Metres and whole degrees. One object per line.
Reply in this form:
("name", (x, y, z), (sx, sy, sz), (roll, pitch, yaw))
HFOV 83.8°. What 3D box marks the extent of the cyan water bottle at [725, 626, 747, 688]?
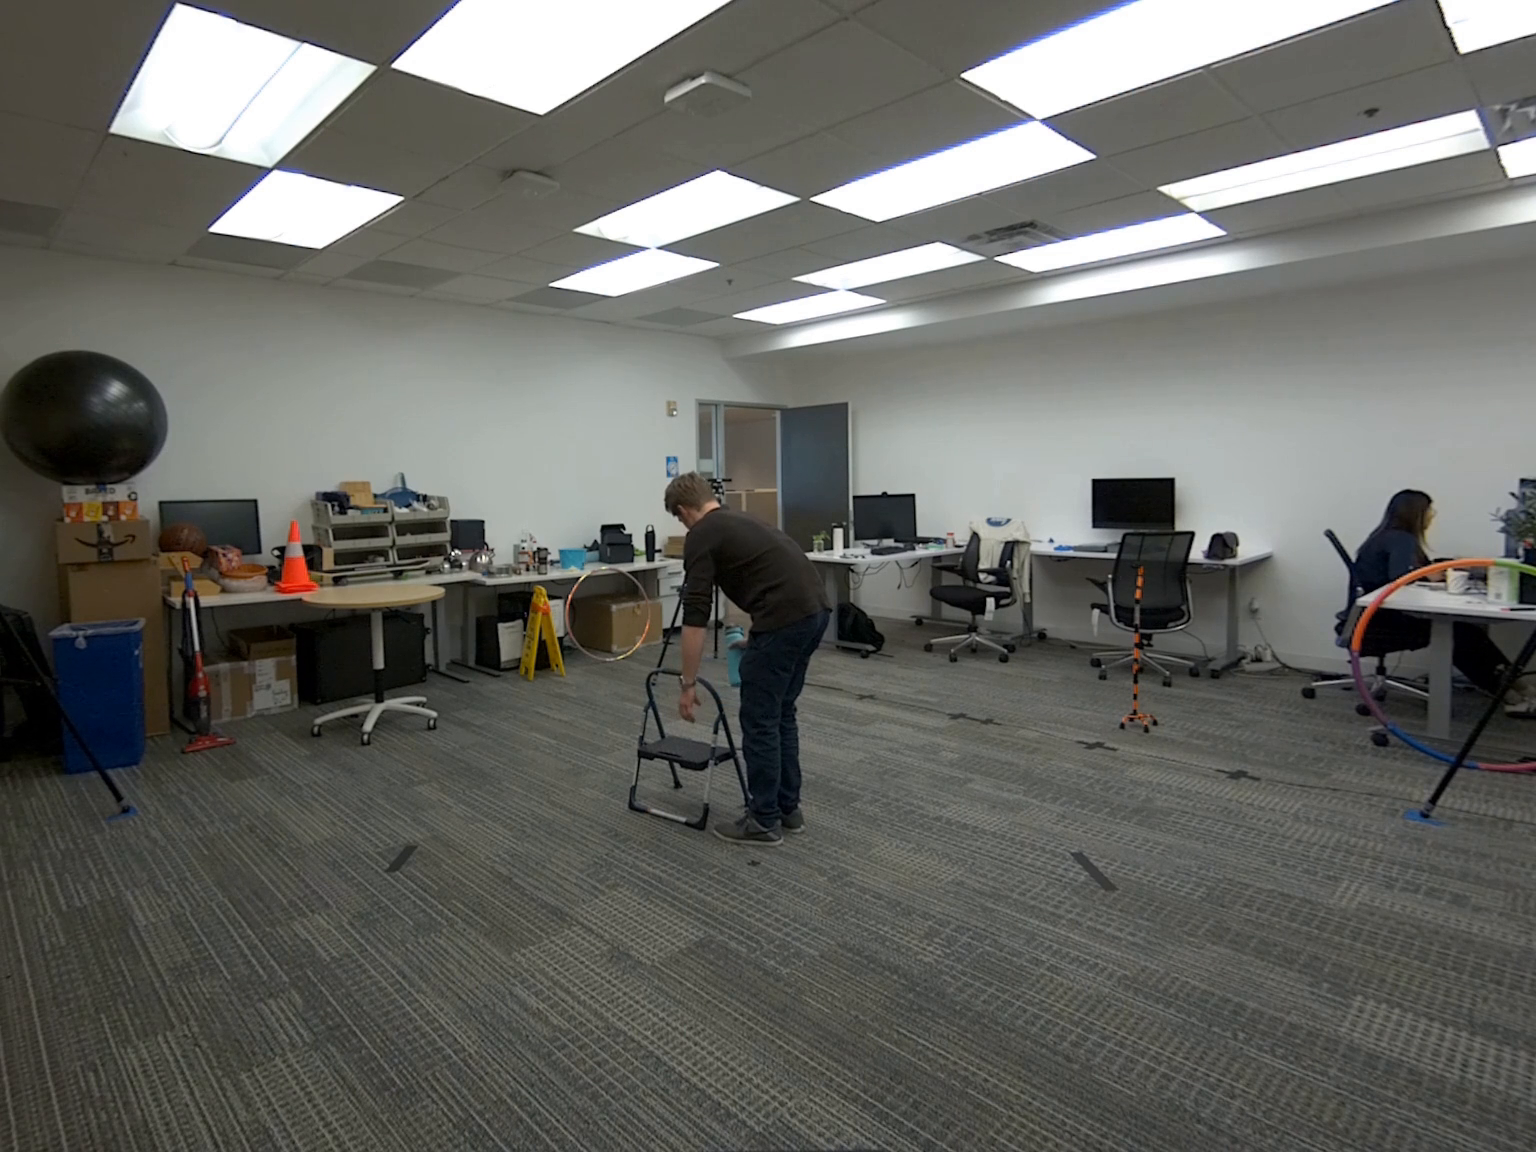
("cyan water bottle", (-0.144, 0.355, 3.823), (0.092, 0.289, 0.090), (-3, -23, -3))
